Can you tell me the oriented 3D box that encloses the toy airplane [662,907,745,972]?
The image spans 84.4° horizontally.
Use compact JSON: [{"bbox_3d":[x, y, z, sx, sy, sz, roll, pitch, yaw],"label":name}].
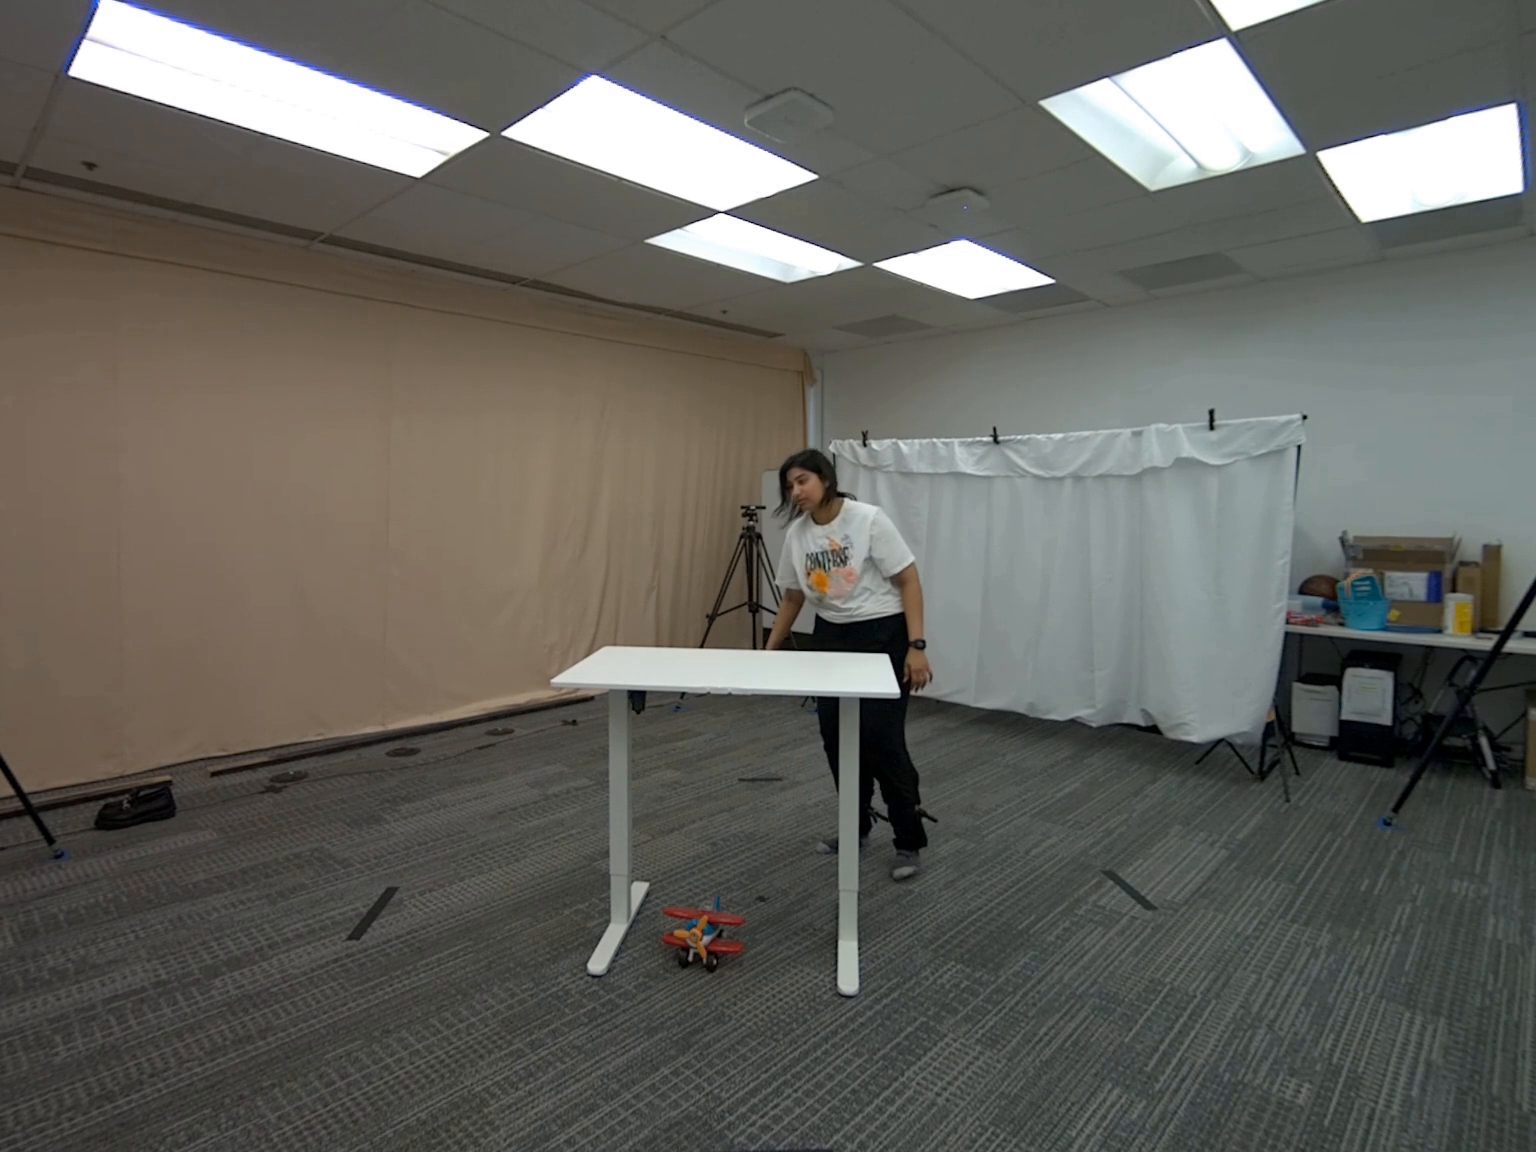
[{"bbox_3d":[-0.204,1.103,2.612,0.248,0.156,0.263,-1,6,-12],"label":"toy airplane"}]
